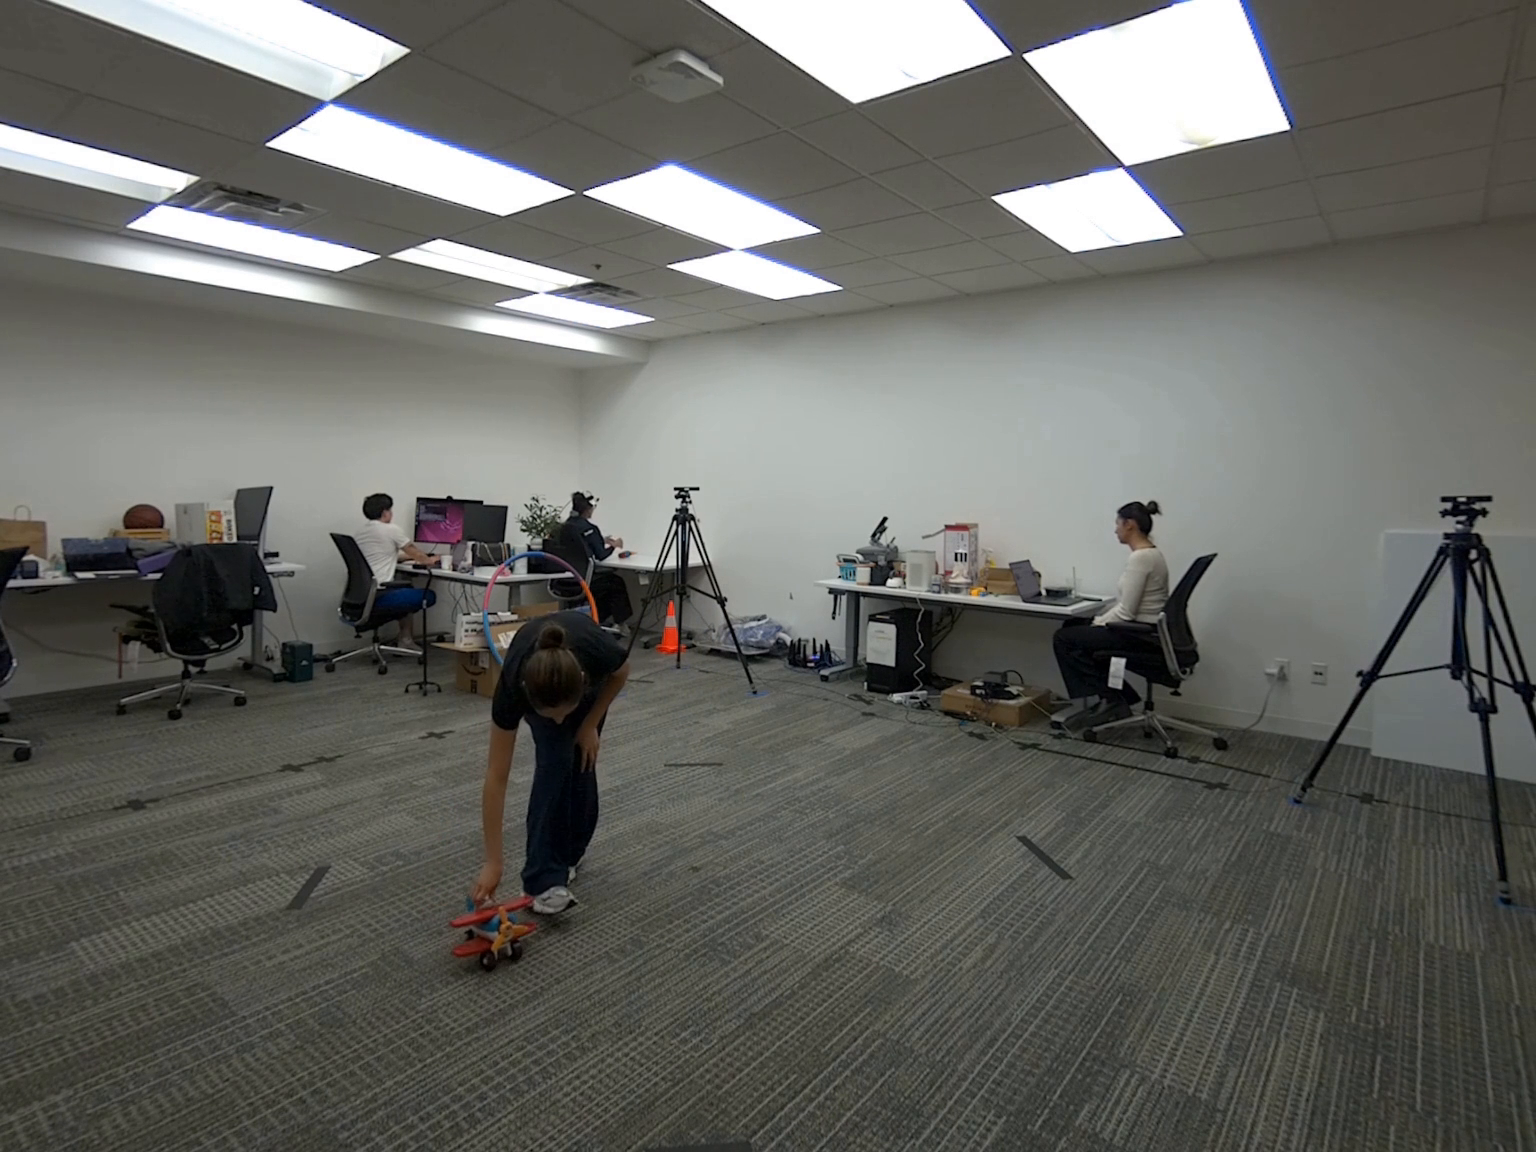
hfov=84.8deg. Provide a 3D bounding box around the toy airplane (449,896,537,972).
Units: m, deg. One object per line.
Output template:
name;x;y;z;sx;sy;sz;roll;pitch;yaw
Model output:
toy airplane;-0.839;1.040;2.540;0.265;0.156;0.246;3;5;20
